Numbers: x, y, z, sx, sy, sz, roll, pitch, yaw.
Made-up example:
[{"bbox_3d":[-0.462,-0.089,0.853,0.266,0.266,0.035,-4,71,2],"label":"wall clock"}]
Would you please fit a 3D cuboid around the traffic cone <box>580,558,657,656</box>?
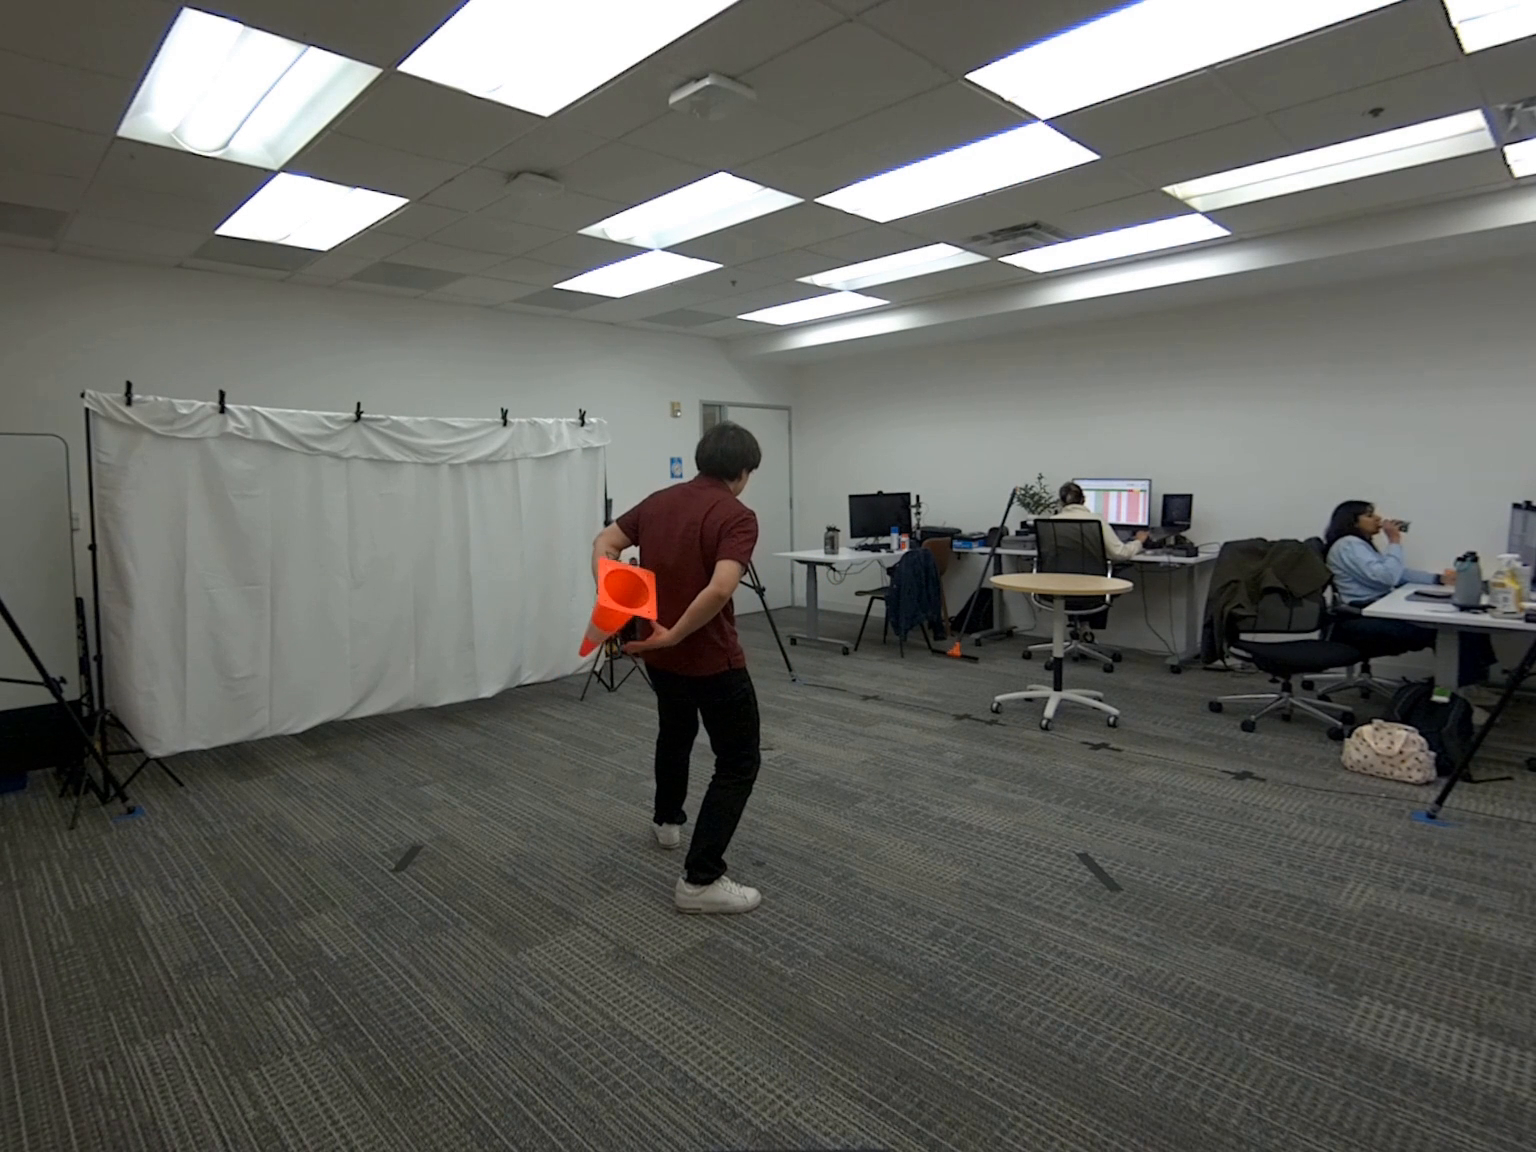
[{"bbox_3d":[-0.532,0.156,2.786,0.199,0.210,0.382,19,-51,-25],"label":"traffic cone"}]
